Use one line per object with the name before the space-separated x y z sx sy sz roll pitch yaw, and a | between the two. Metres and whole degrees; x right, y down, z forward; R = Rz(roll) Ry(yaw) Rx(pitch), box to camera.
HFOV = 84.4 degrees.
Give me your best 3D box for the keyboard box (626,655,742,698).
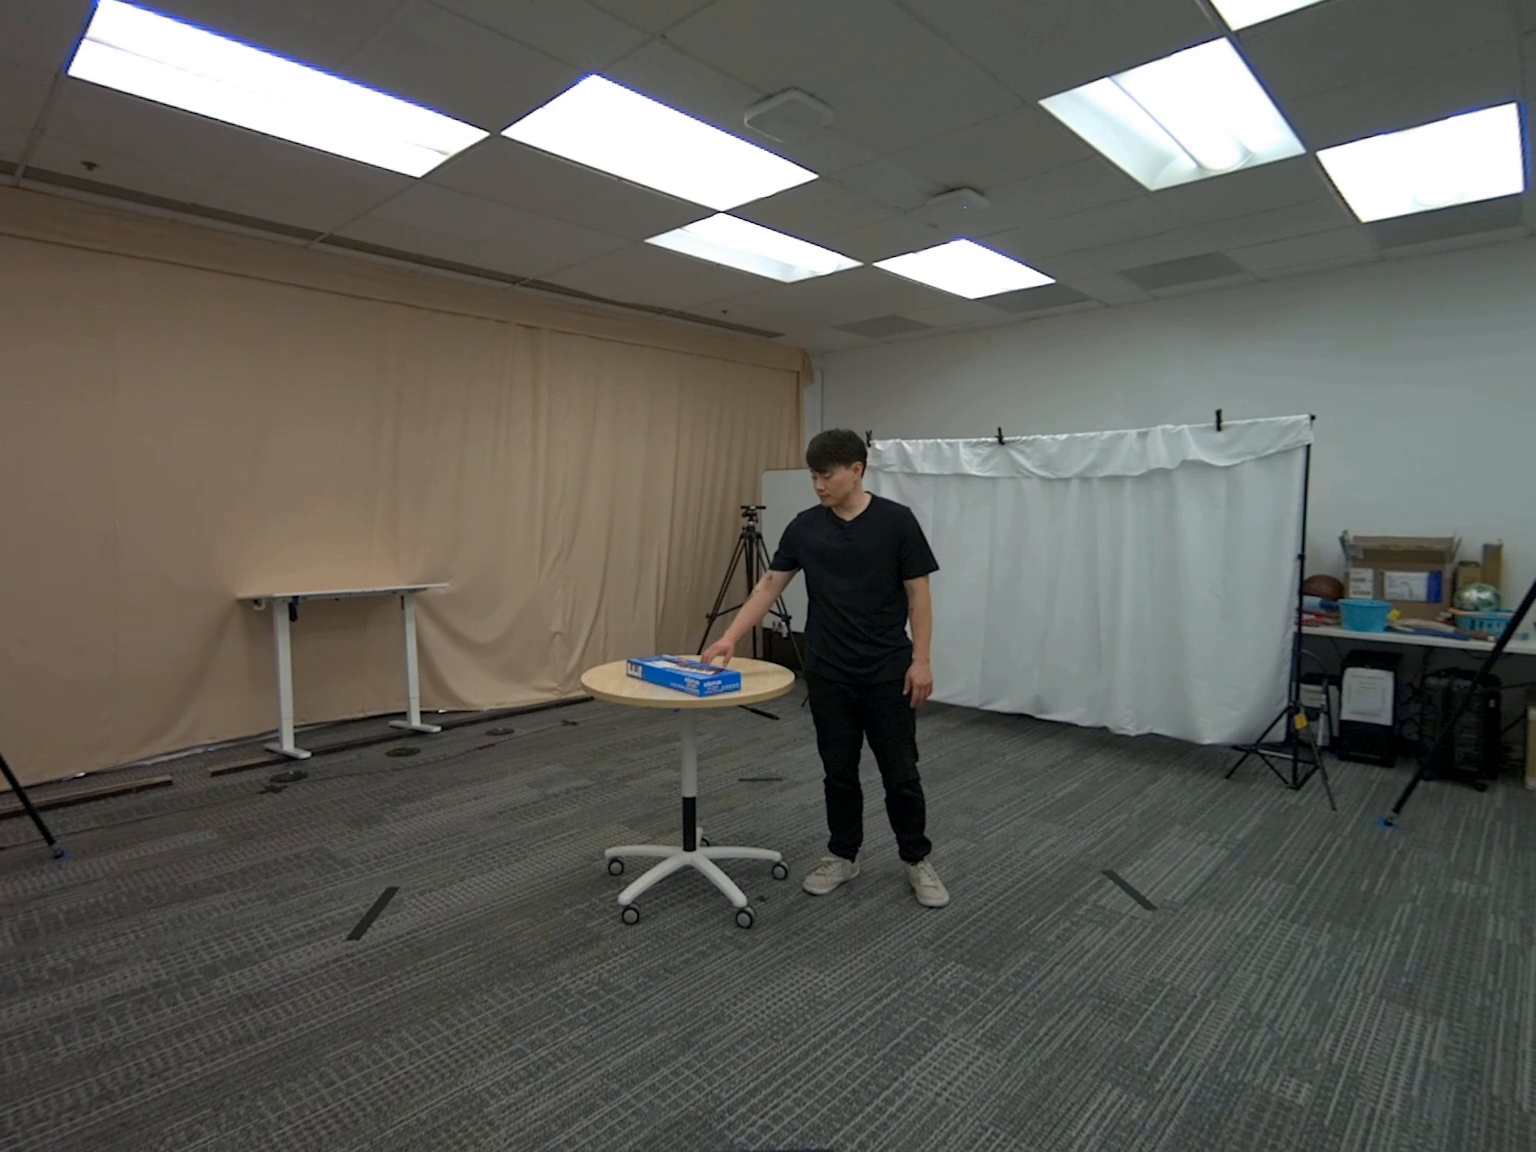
keyboard box | -0.302 0.342 2.905 0.170 0.059 0.451 -4 6 -41
